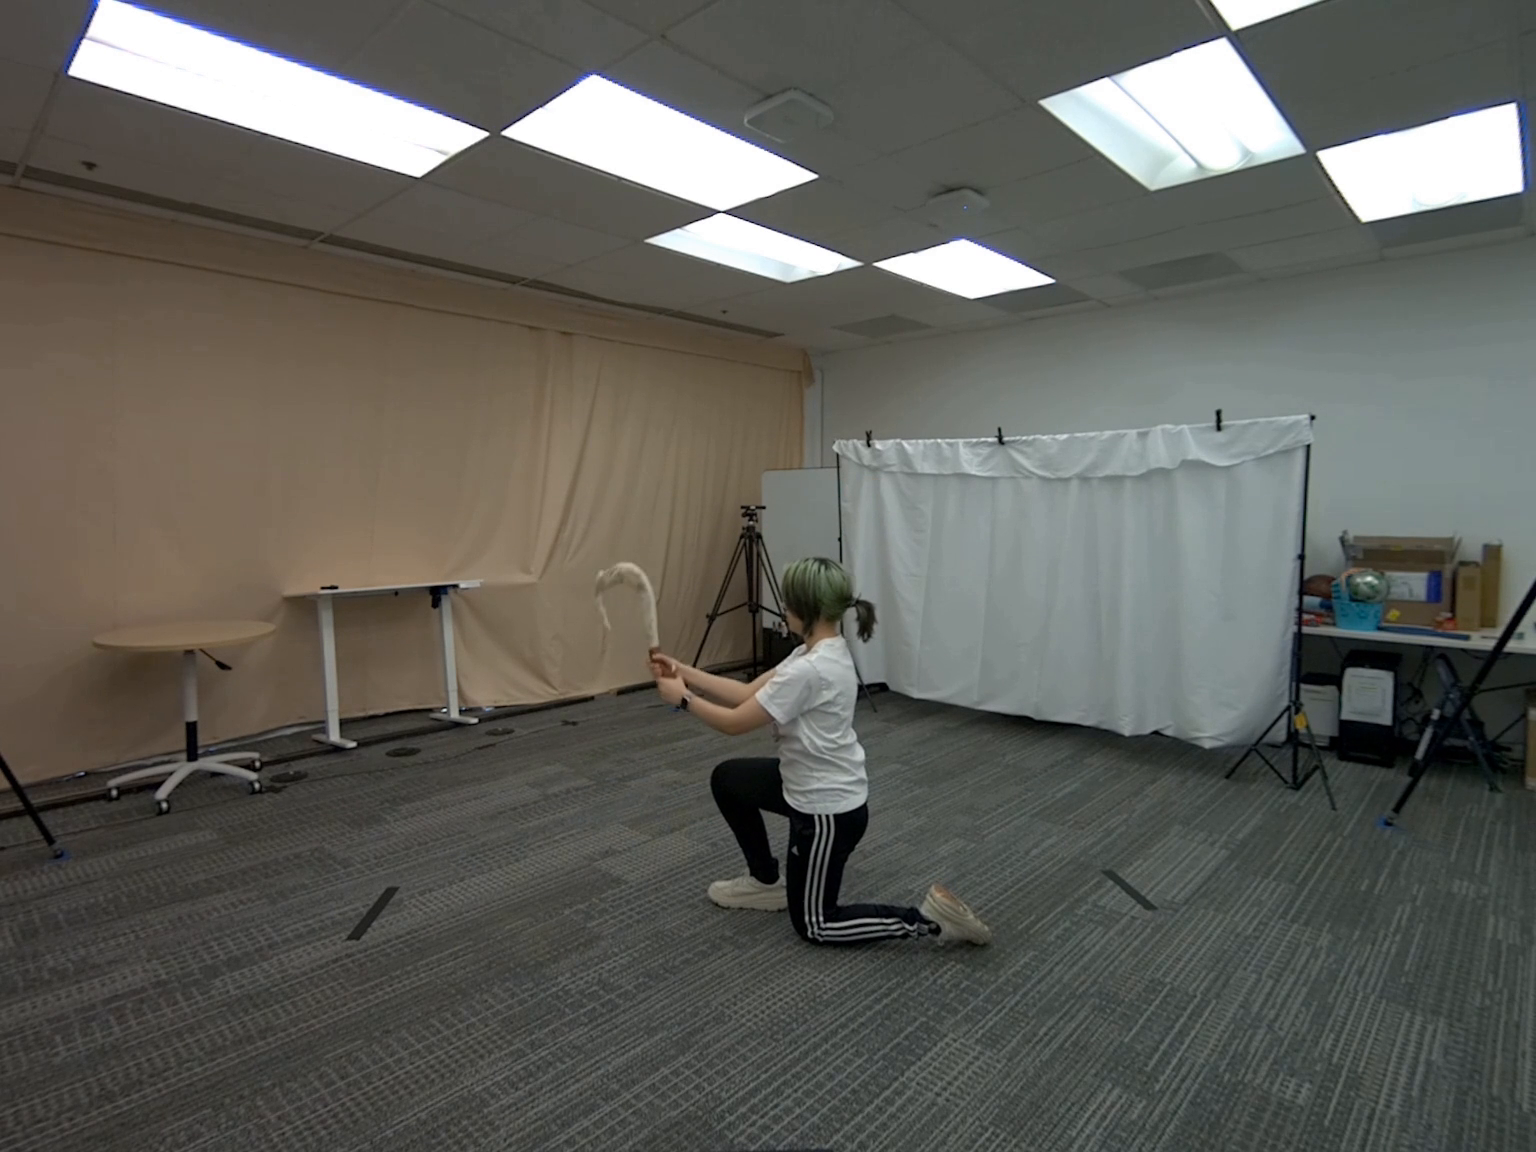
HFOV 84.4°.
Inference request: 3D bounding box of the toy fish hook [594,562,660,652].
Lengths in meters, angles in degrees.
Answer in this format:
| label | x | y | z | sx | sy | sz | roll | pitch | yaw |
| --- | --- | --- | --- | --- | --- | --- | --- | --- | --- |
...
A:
| label | x | y | z | sx | sy | sz | roll | pitch | yaw |
| --- | --- | --- | --- | --- | --- | --- | --- | --- | --- |
| toy fish hook | -0.419 | 0.218 | 2.819 | 0.228 | 0.510 | 0.047 | -23 | -7 | 19 |
